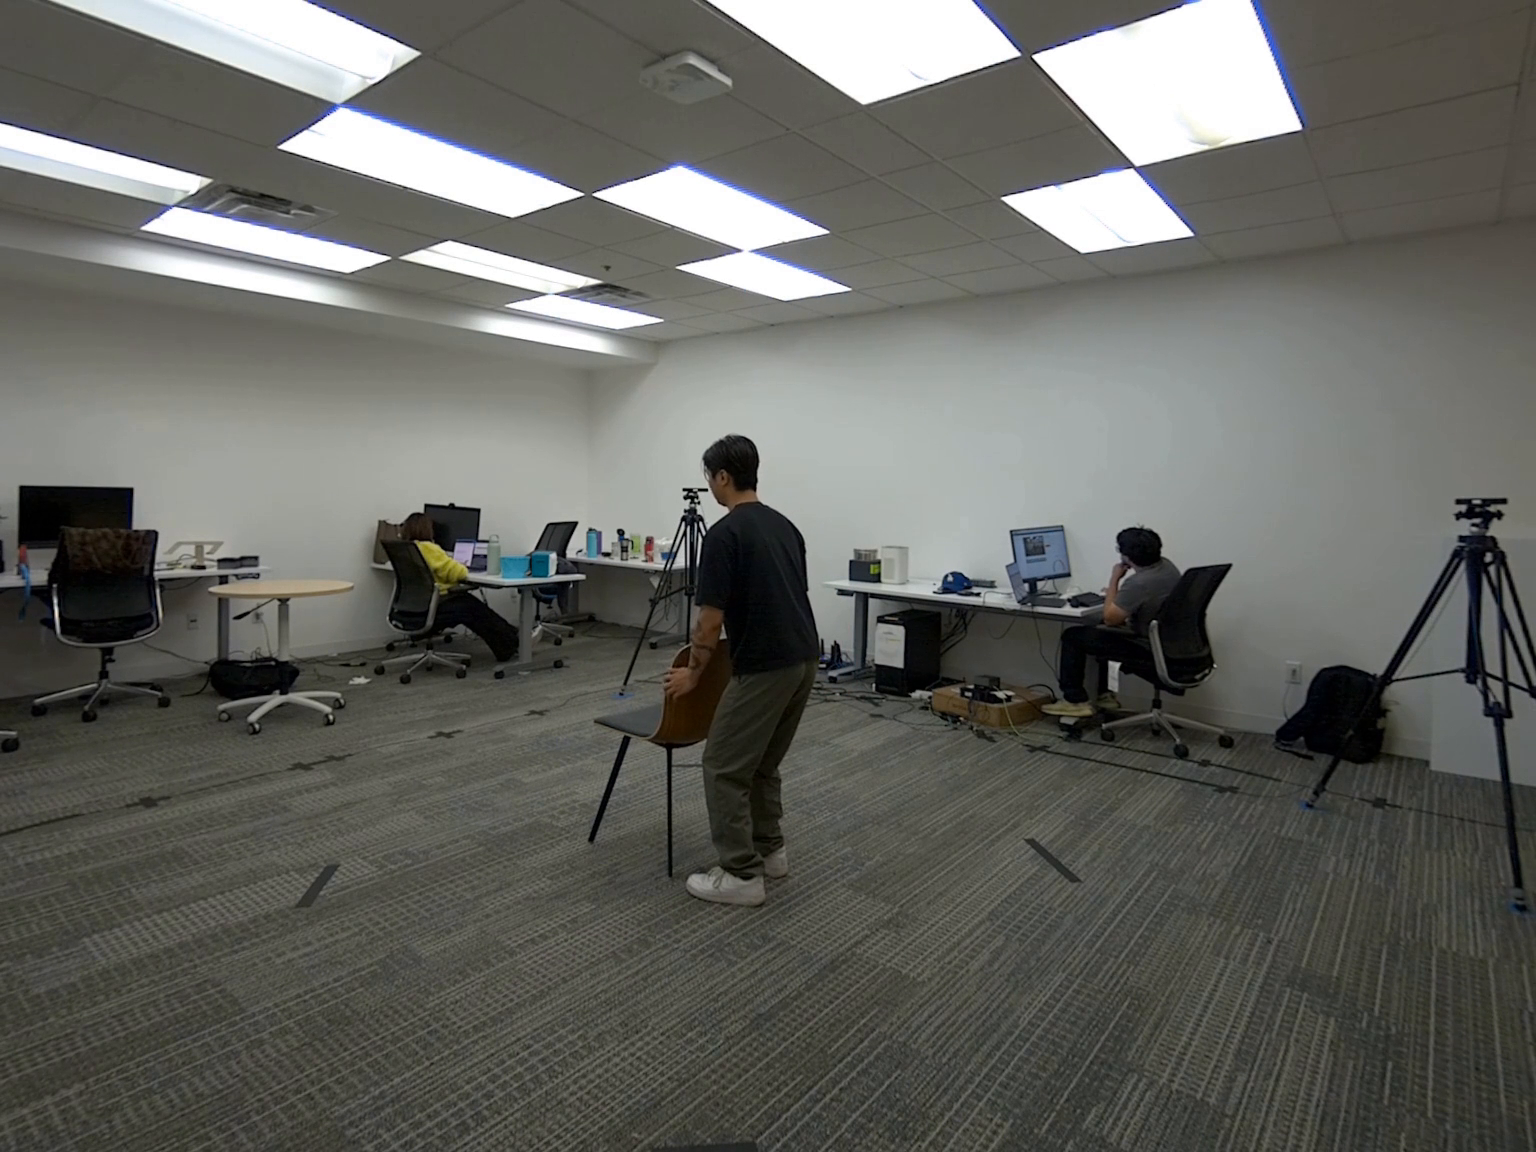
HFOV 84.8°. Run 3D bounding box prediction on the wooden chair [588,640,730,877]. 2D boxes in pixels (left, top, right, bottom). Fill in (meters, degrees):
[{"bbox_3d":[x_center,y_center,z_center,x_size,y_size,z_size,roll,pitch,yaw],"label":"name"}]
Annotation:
[{"bbox_3d":[-0.397,0.615,3.323,0.542,0.872,0.464,10,9,40],"label":"wooden chair"}]
